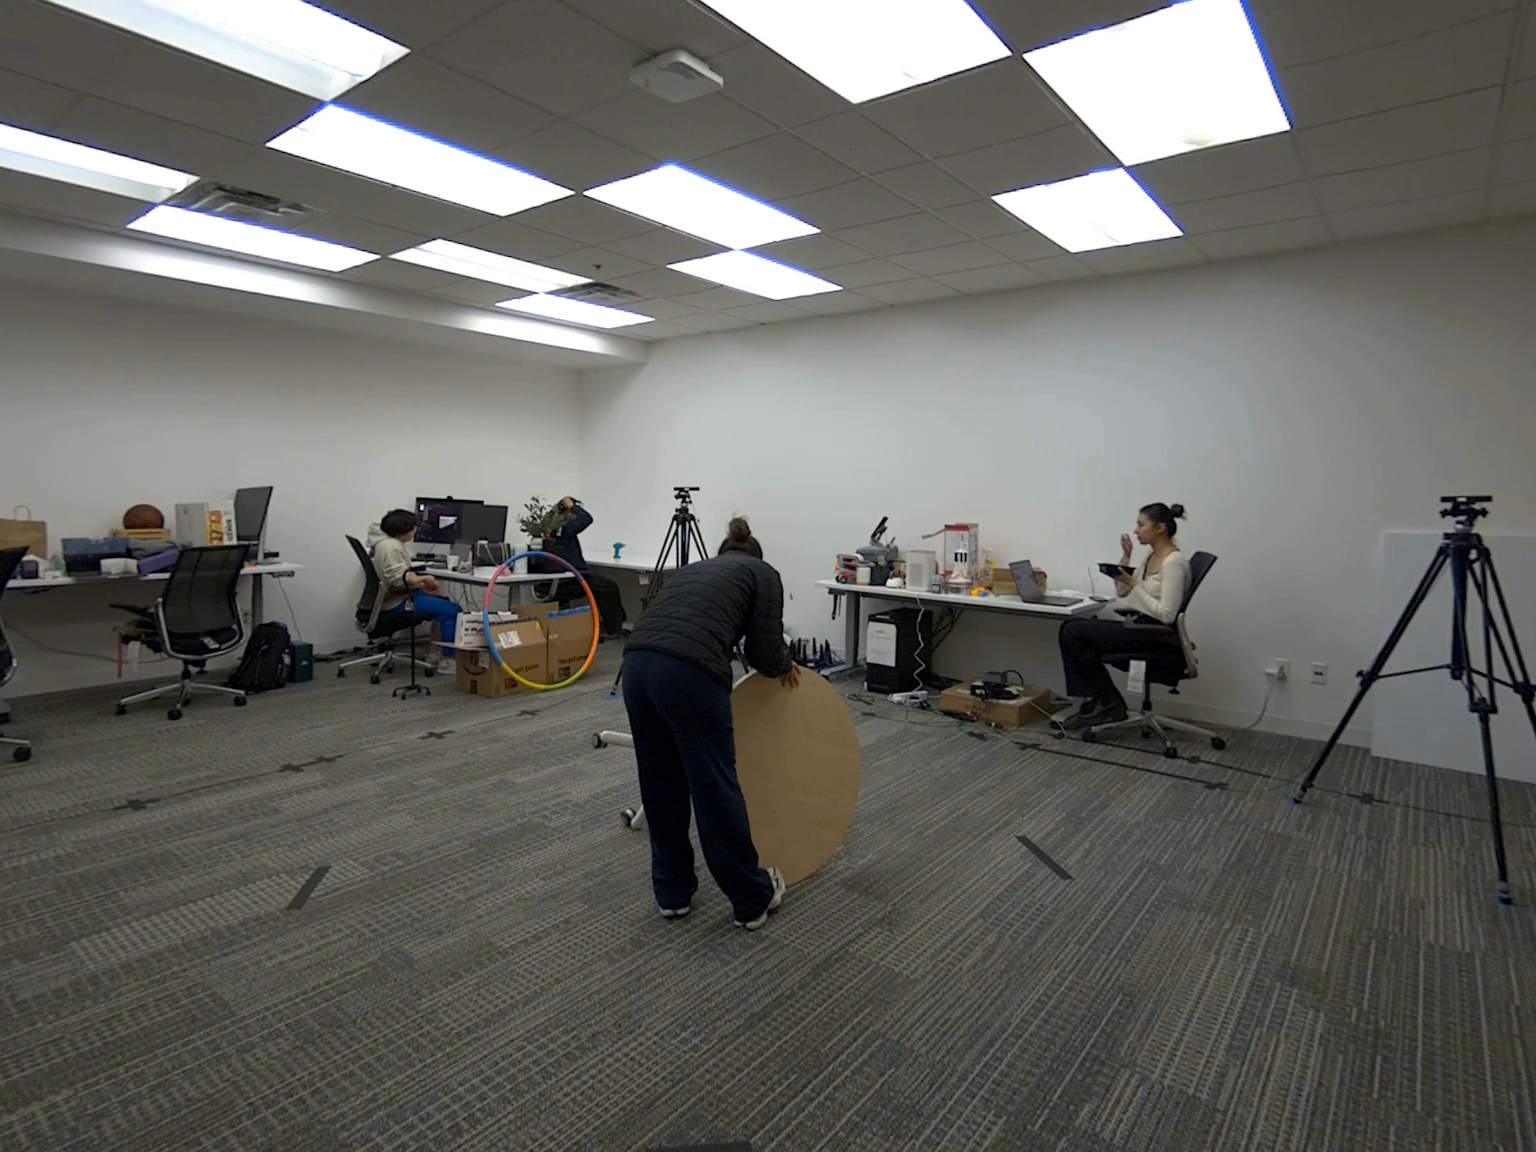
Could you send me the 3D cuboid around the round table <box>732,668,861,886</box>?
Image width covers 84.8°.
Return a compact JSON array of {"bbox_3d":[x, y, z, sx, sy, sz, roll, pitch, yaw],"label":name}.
[{"bbox_3d":[-0.178,0.709,3.339,0.761,0.787,0.809,-3,-2,-41],"label":"round table"}]
